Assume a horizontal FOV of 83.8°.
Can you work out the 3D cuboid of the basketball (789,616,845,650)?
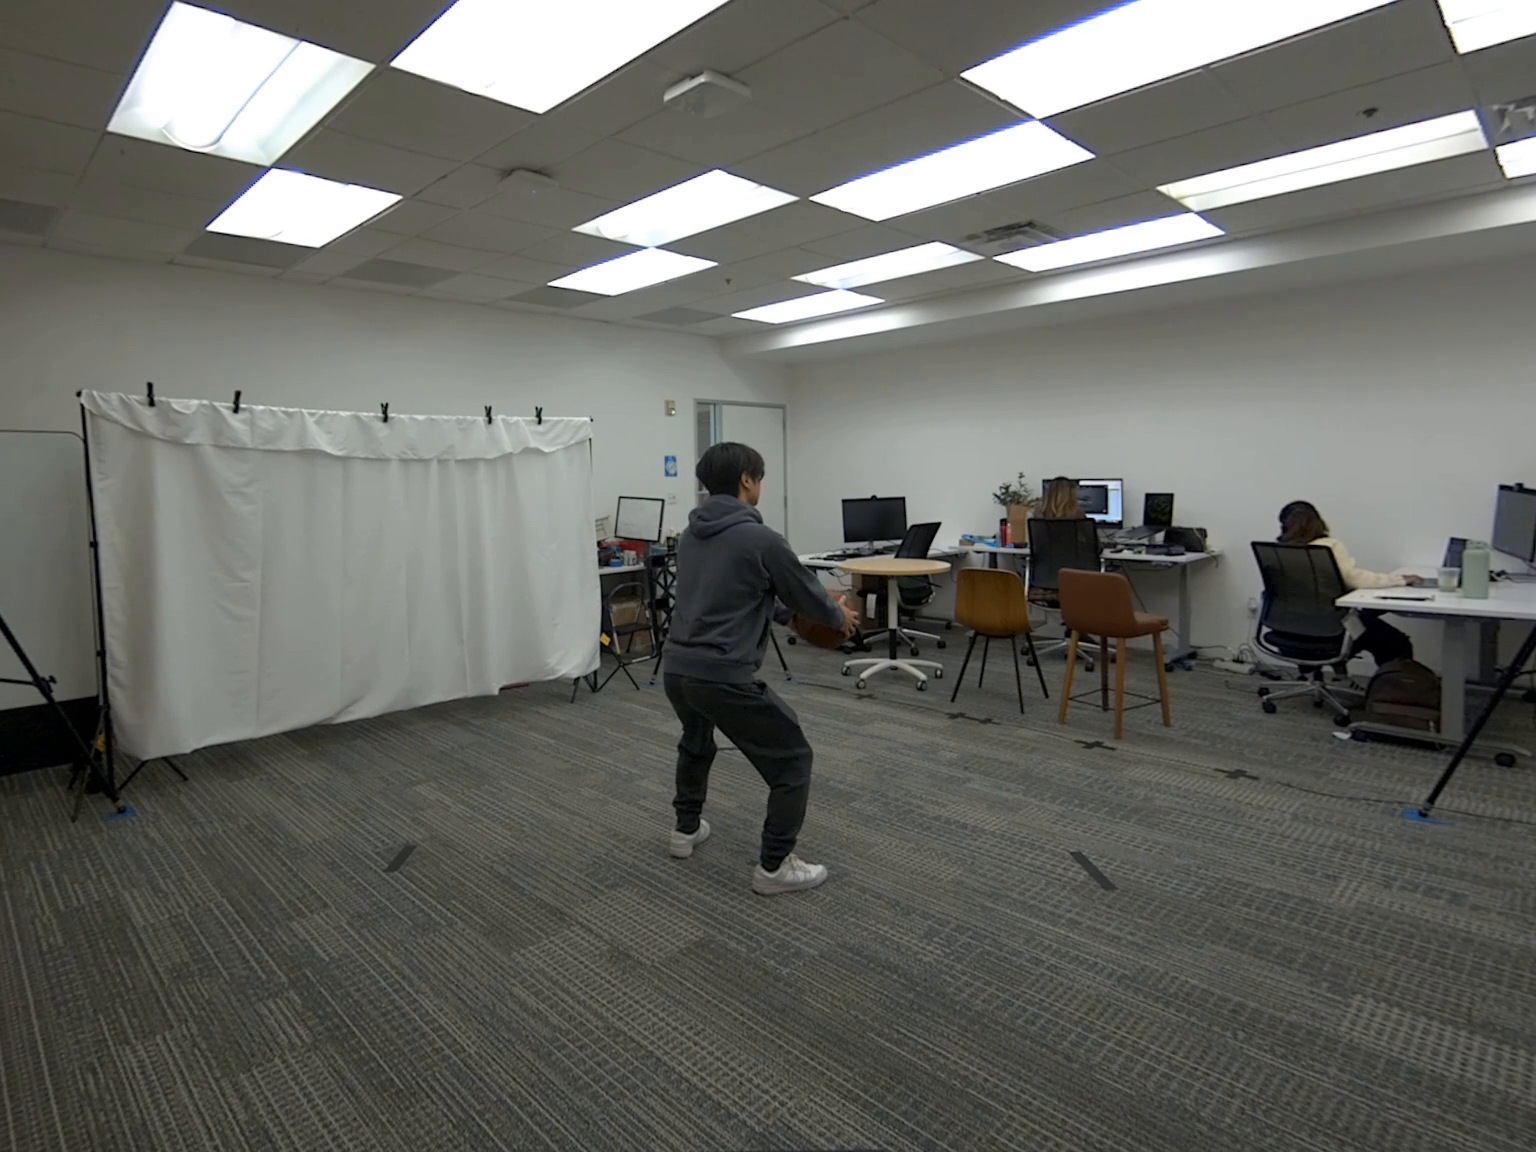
[{"bbox_3d":[0.236,0.169,3.366,0.236,0.235,0.237,-1,5,-2],"label":"basketball"}]
